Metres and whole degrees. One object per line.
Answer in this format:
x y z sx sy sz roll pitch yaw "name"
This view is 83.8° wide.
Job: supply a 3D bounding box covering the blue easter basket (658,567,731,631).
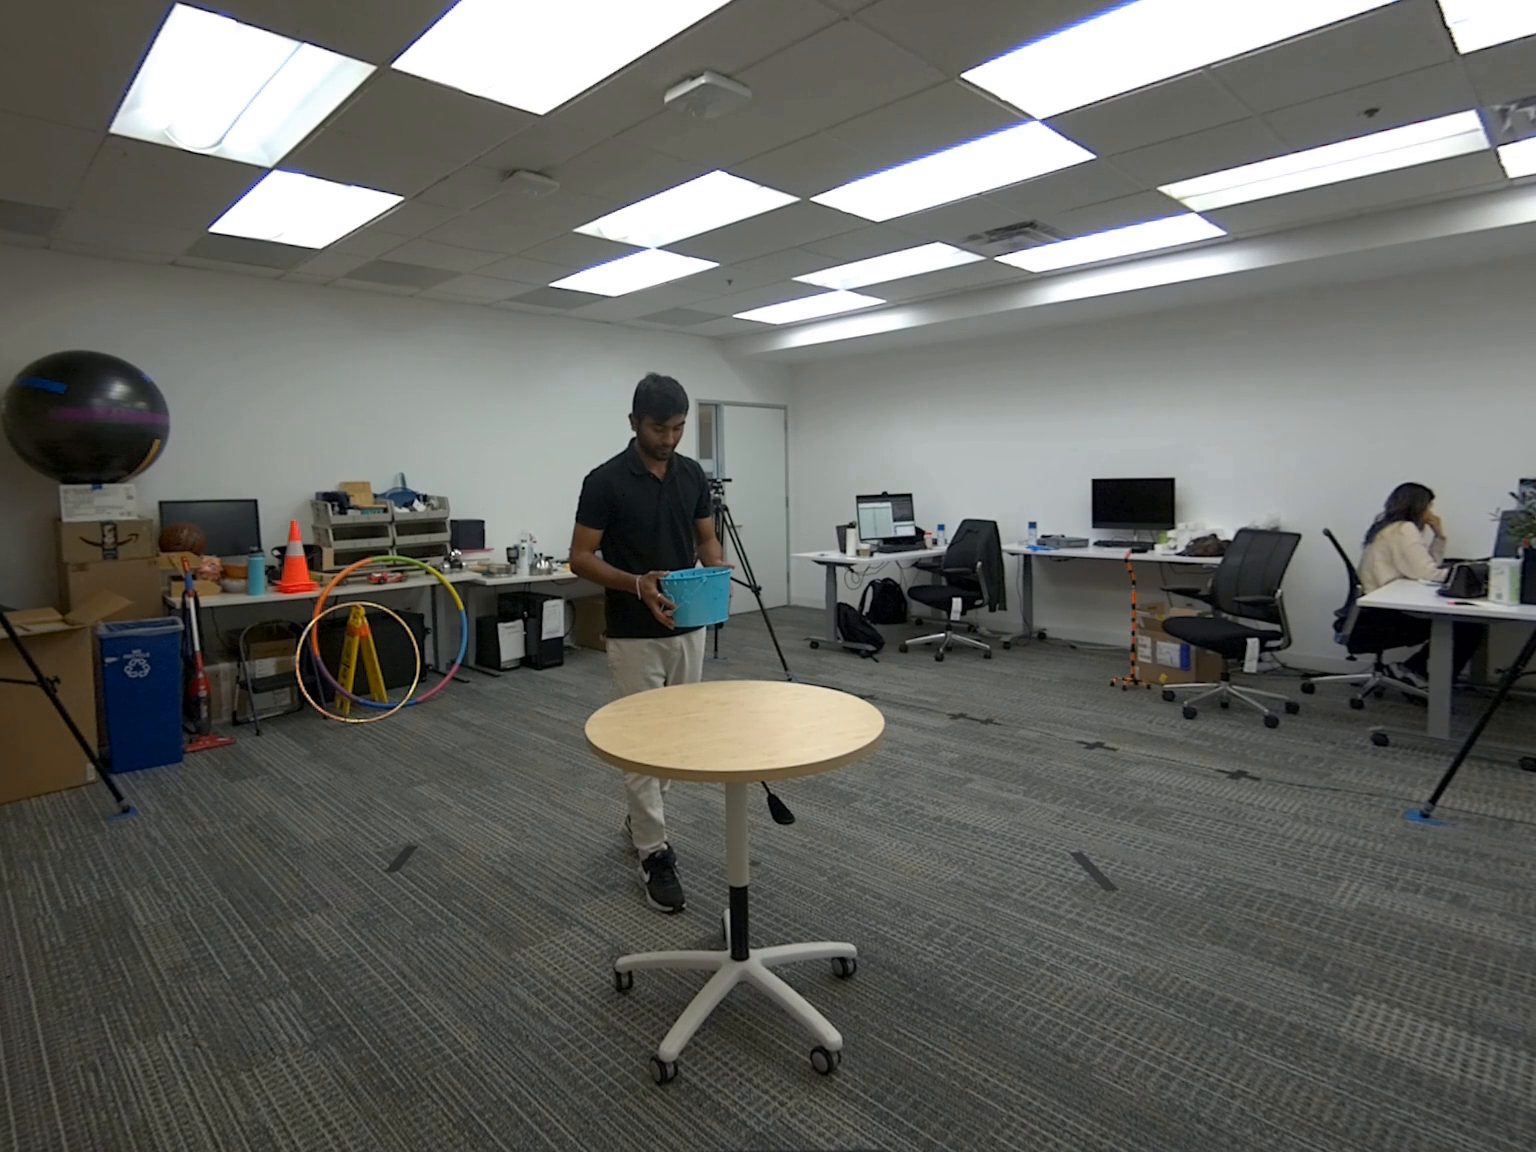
-0.239 0.068 2.659 0.243 0.155 0.245 -6 5 -1 "blue easter basket"
